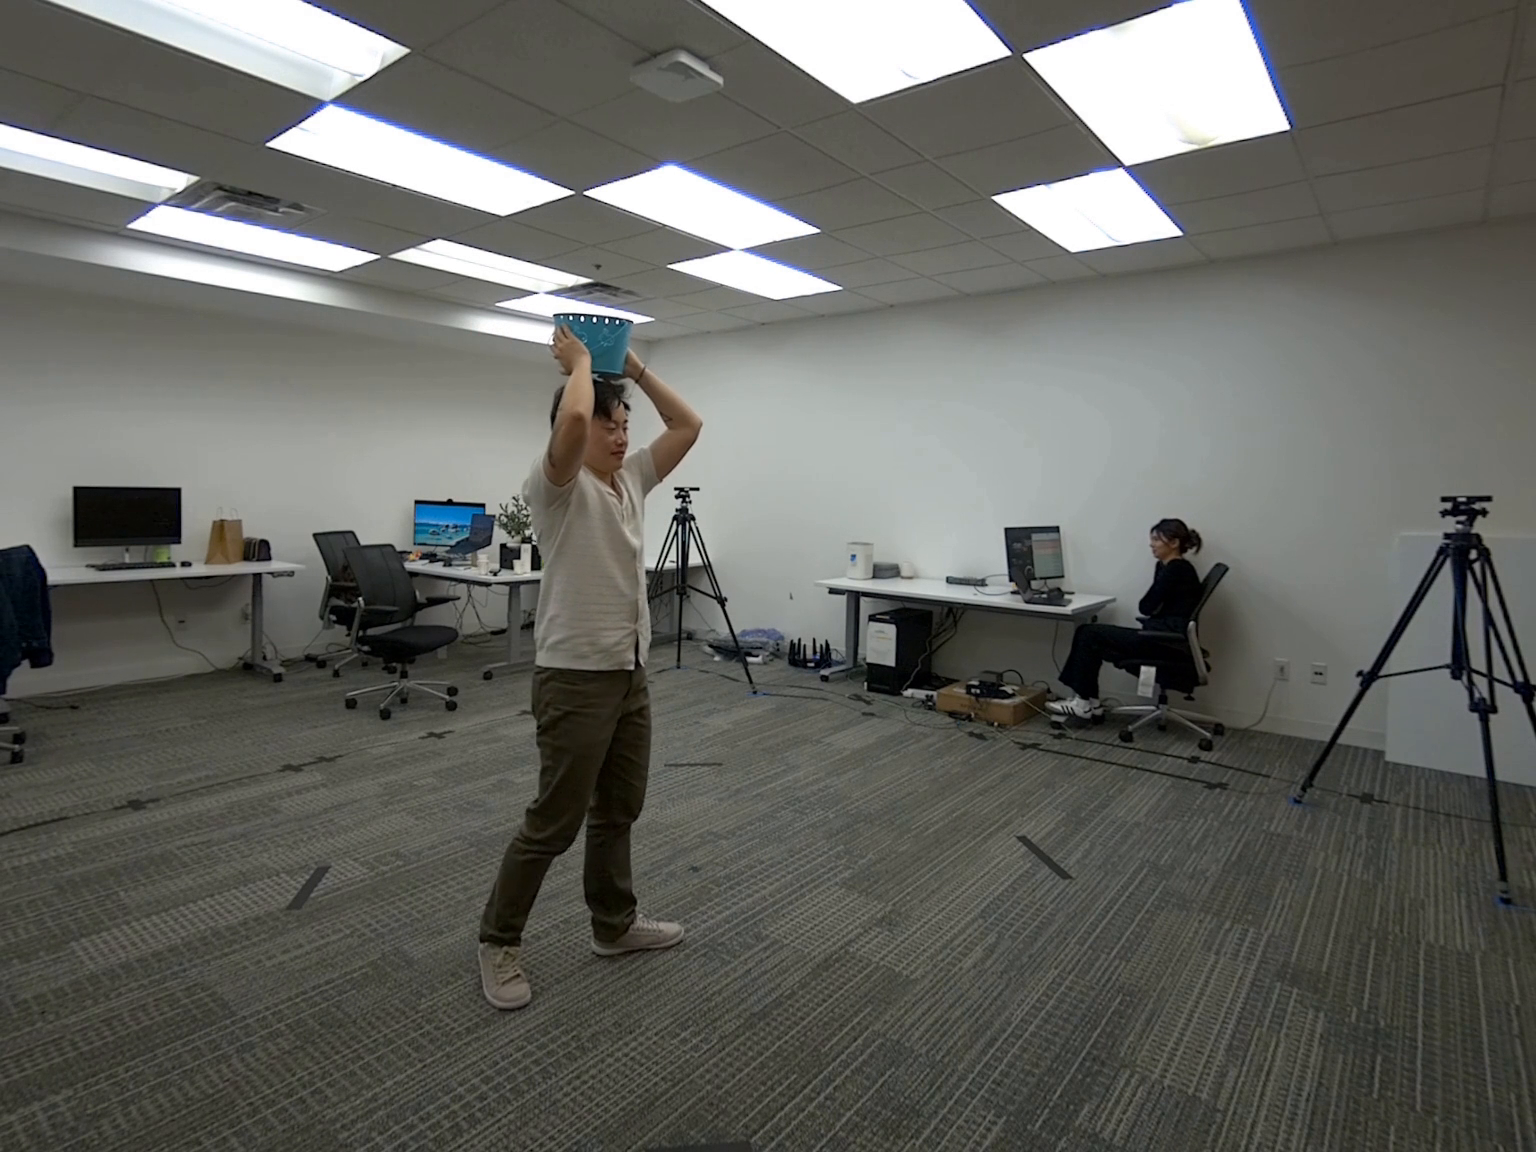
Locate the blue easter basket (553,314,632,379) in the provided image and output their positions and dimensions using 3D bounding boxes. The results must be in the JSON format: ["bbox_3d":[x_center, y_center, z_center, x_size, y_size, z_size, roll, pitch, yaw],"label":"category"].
[{"bbox_3d":[-0.517,-0.654,2.406,0.243,0.154,0.246,3,10,-2],"label":"blue easter basket"}]
